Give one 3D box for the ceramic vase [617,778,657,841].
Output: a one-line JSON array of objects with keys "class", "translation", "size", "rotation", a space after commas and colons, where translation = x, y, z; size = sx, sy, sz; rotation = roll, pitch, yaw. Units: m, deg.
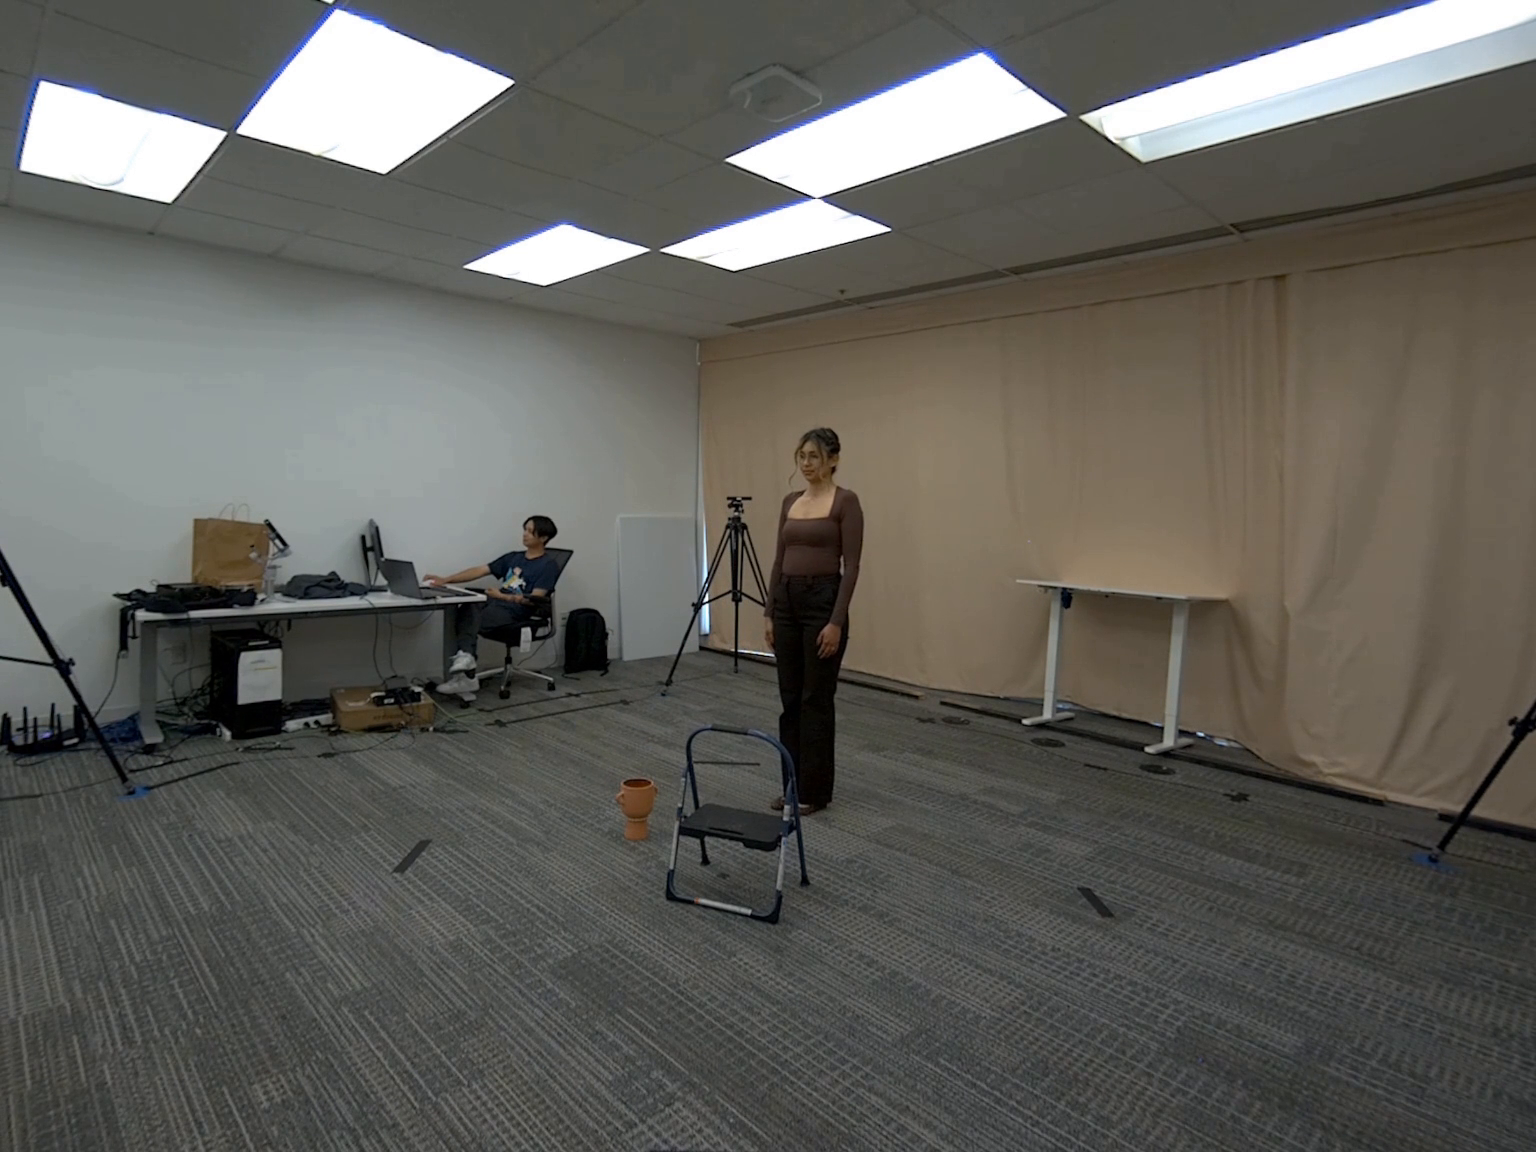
[{"class": "ceramic vase", "translation": [-0.547, 0.954, 3.448], "size": [0.159, 0.219, 0.135], "rotation": [2, 3, 0]}]
